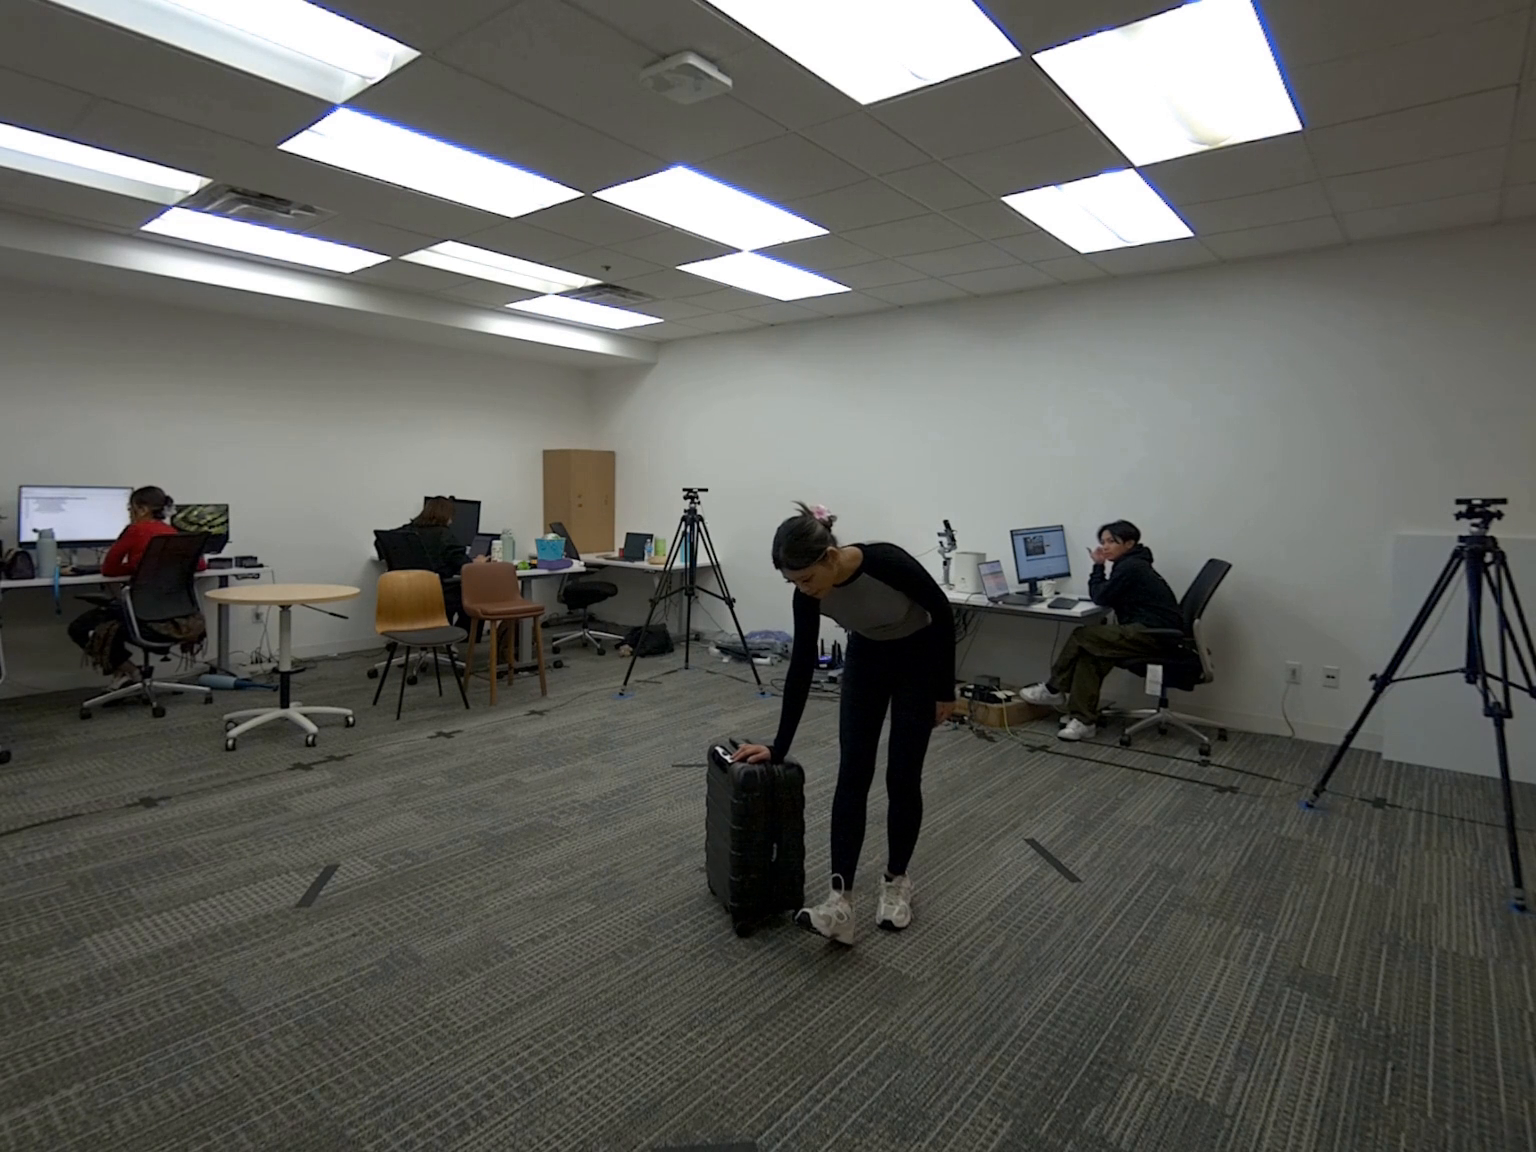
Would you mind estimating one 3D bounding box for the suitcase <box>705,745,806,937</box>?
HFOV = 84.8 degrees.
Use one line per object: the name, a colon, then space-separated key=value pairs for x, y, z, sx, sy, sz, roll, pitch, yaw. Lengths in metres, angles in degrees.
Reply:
suitcase: x=-0.058 y=0.824 z=2.805 sx=0.244 sy=0.547 sz=0.384 roll=-1 pitch=4 yaw=-19
